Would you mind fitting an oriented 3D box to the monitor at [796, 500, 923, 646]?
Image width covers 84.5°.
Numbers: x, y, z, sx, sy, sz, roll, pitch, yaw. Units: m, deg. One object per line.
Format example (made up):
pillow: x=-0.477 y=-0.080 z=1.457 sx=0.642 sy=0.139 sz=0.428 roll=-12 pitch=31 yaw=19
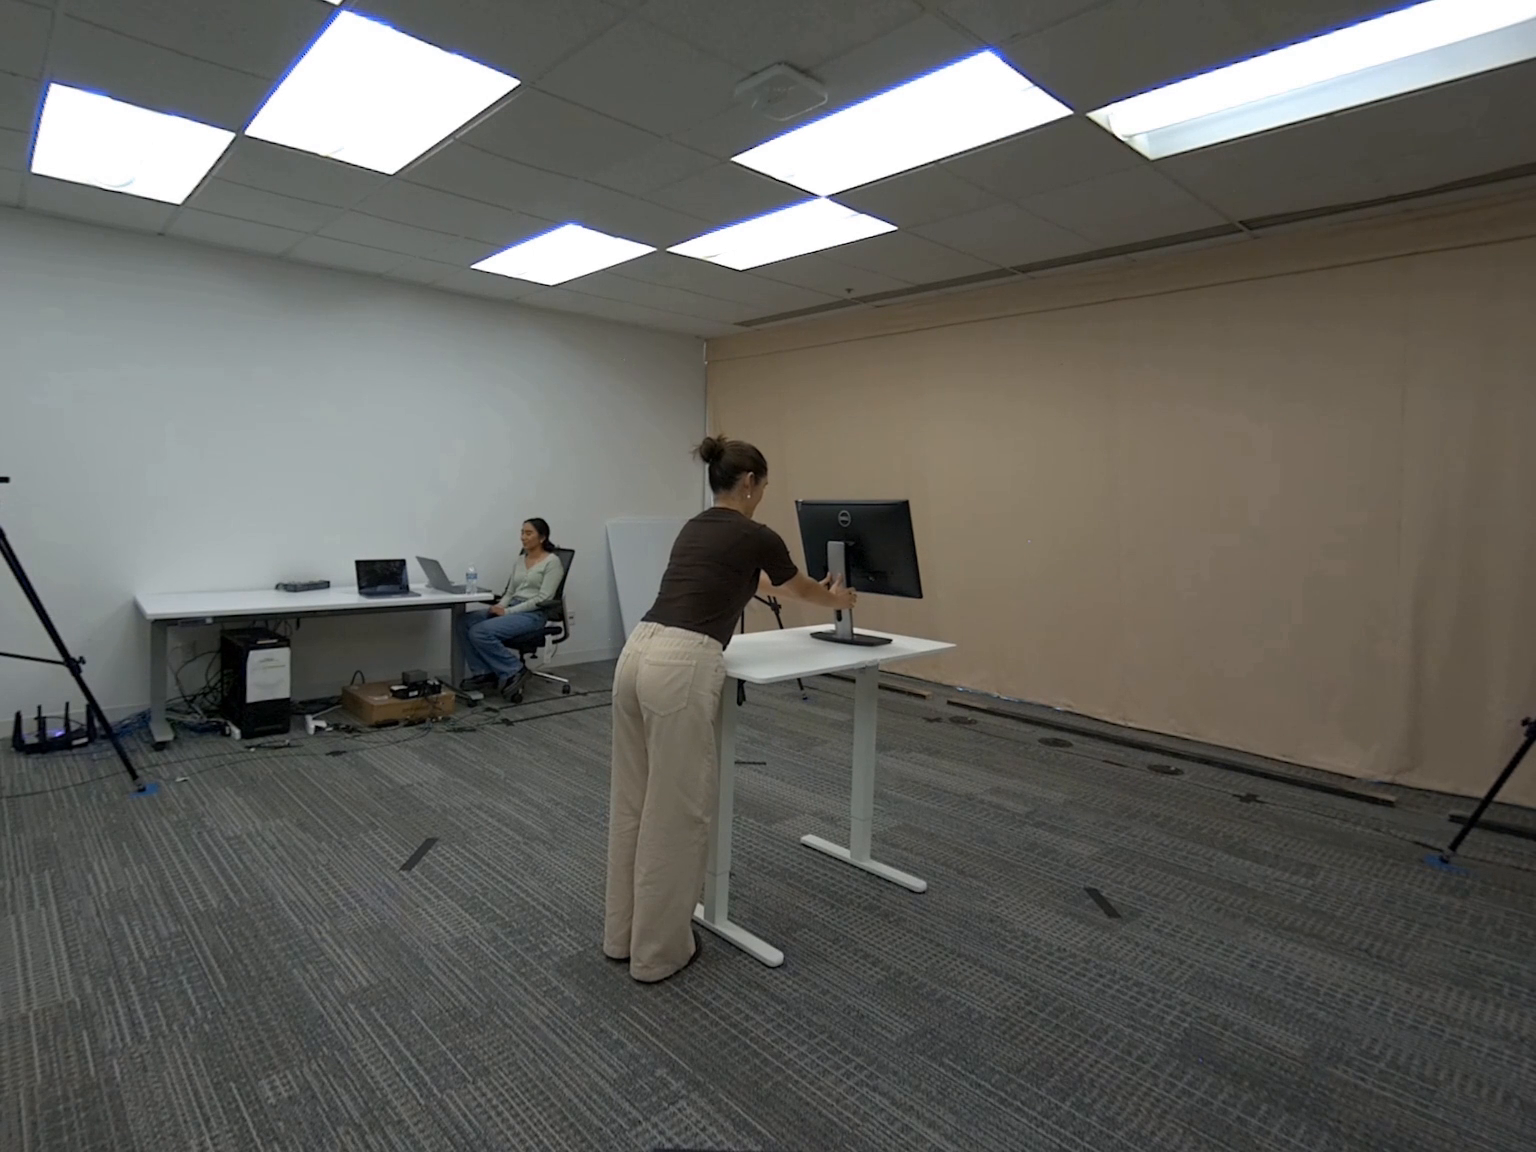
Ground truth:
monitor: x=0.292 y=-0.015 z=3.059 sx=0.183 sy=0.521 sz=0.553 roll=-5 pitch=7 yaw=-43
